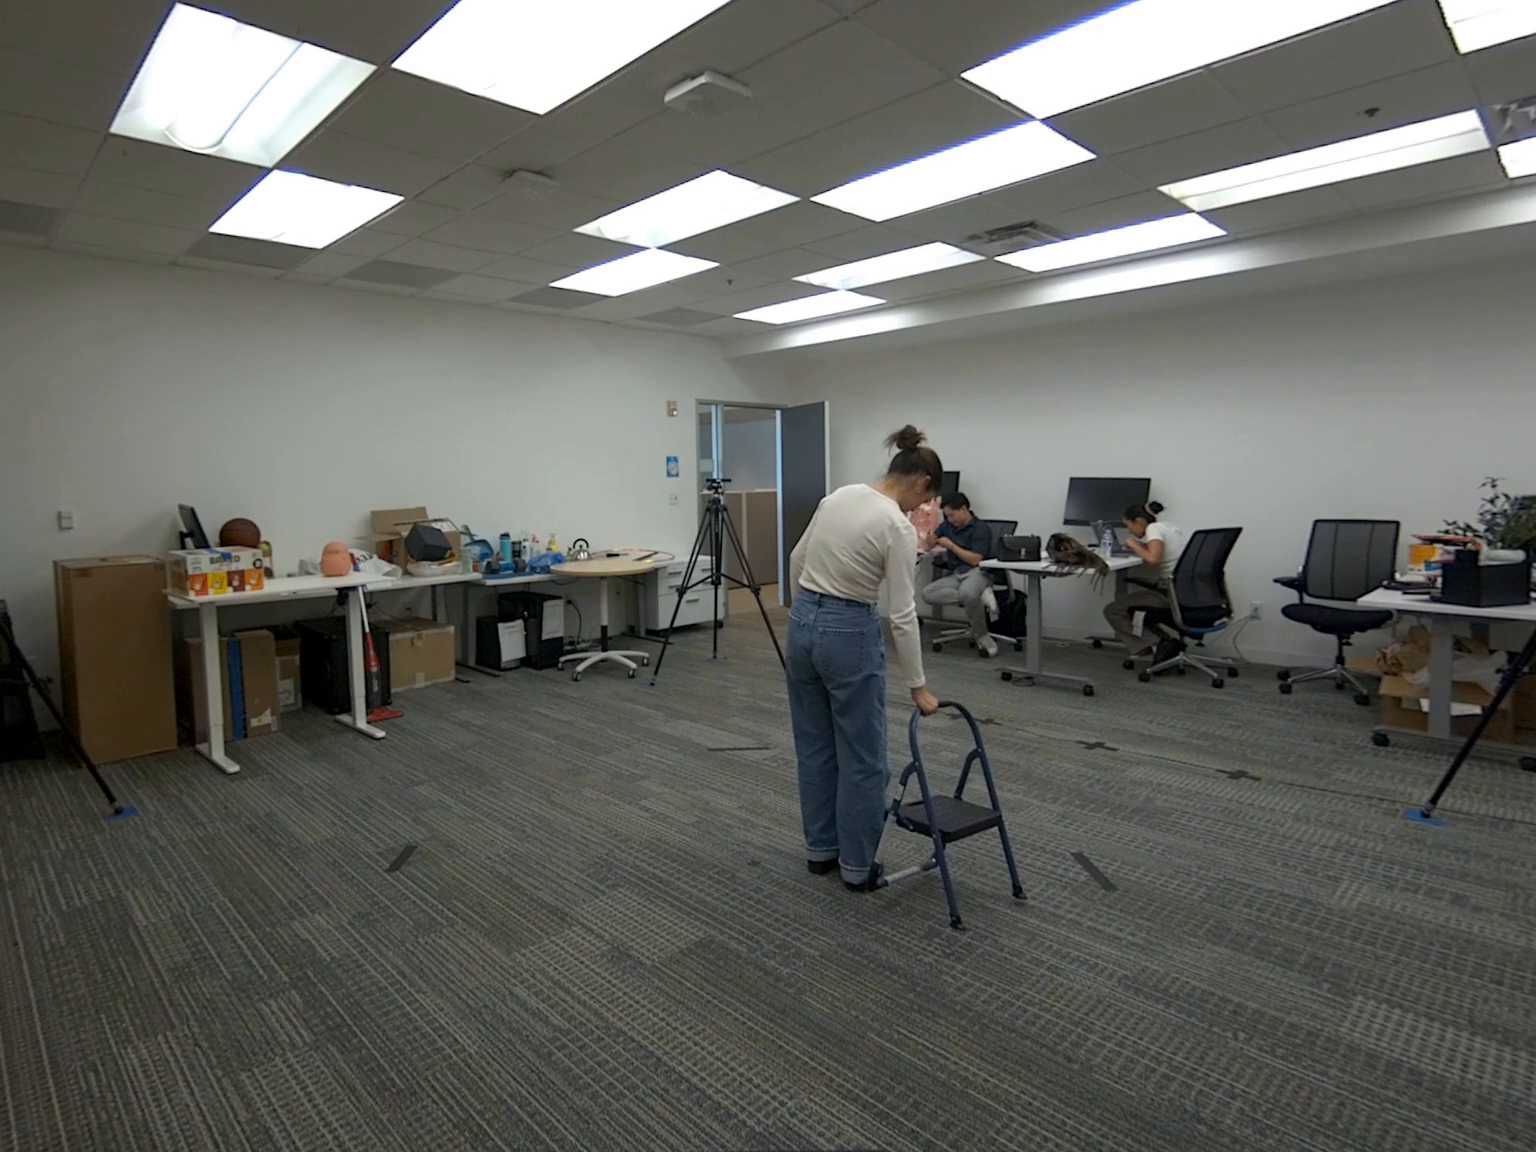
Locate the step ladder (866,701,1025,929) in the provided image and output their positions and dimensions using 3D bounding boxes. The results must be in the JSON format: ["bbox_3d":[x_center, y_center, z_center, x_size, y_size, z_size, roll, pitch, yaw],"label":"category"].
[{"bbox_3d":[0.605,0.732,2.749,0.360,0.607,0.417,3,-2,44],"label":"step ladder"}]
